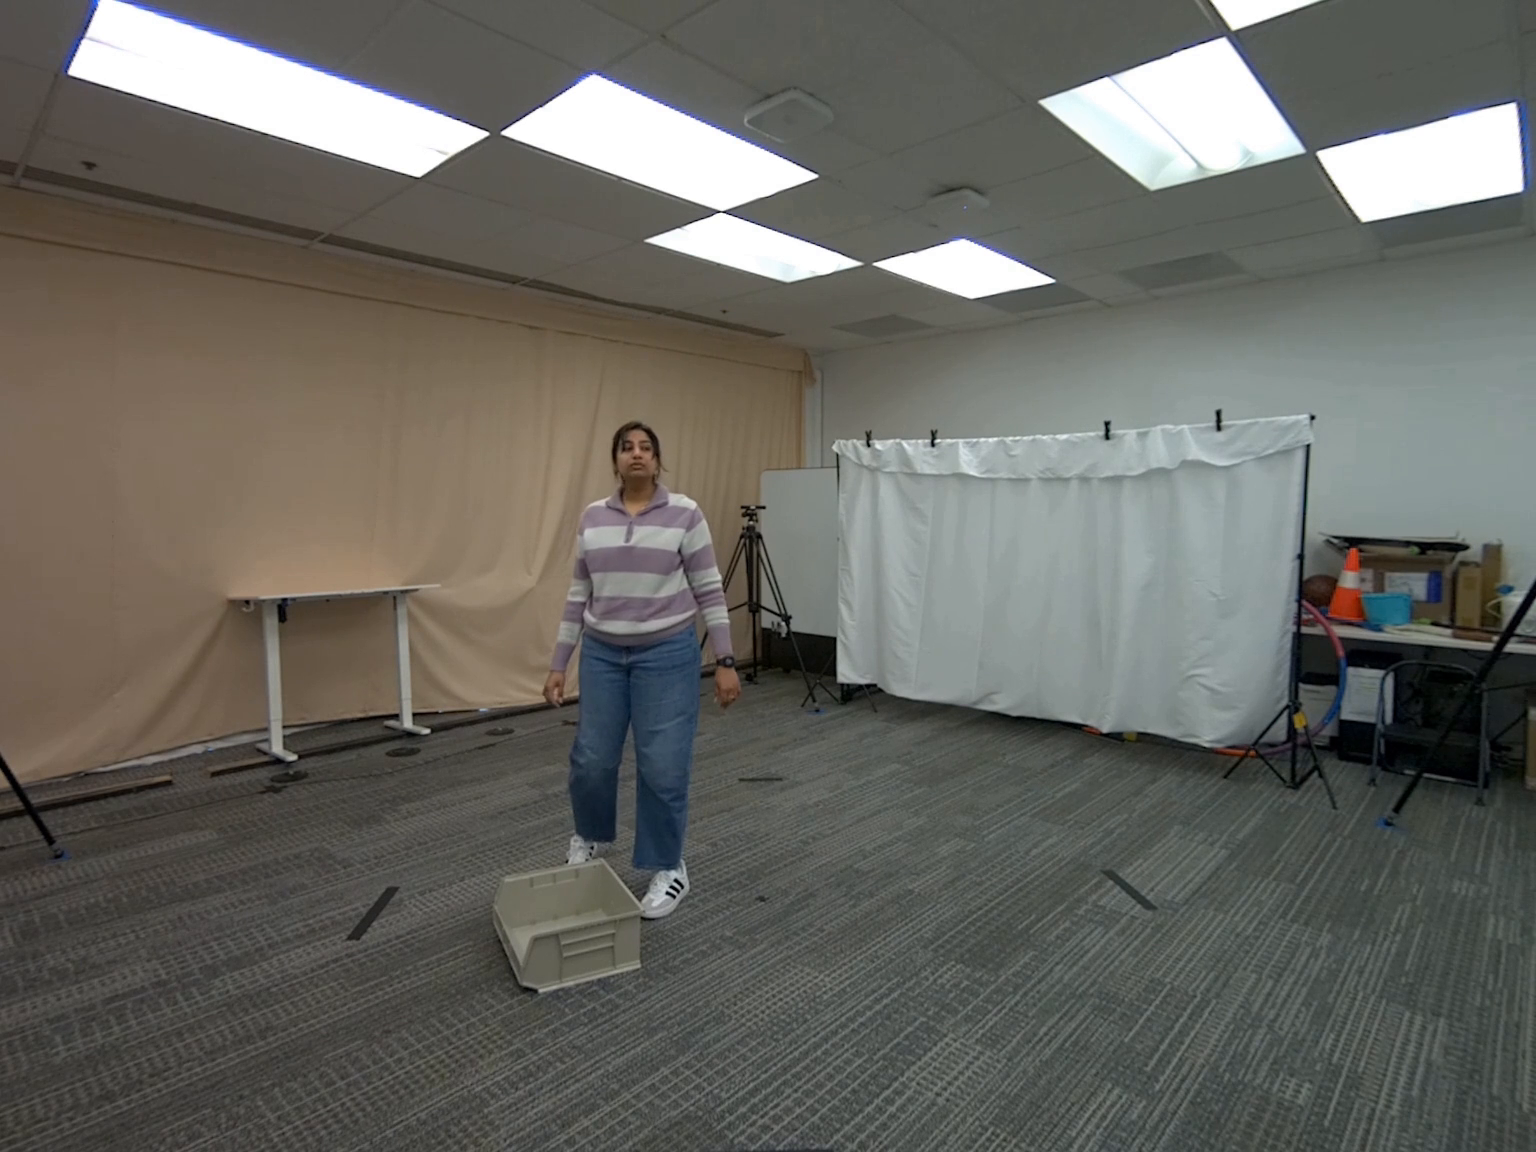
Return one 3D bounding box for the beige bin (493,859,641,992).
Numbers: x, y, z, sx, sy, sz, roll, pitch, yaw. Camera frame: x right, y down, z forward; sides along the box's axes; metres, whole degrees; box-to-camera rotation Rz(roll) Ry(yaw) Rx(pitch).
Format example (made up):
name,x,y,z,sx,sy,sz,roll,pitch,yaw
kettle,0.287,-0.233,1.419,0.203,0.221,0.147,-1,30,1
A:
name,x,y,z,sx,sy,sz,roll,pitch,yaw
beige bin,-0.639,1.087,2.644,0.368,0.189,0.434,-1,4,-28
